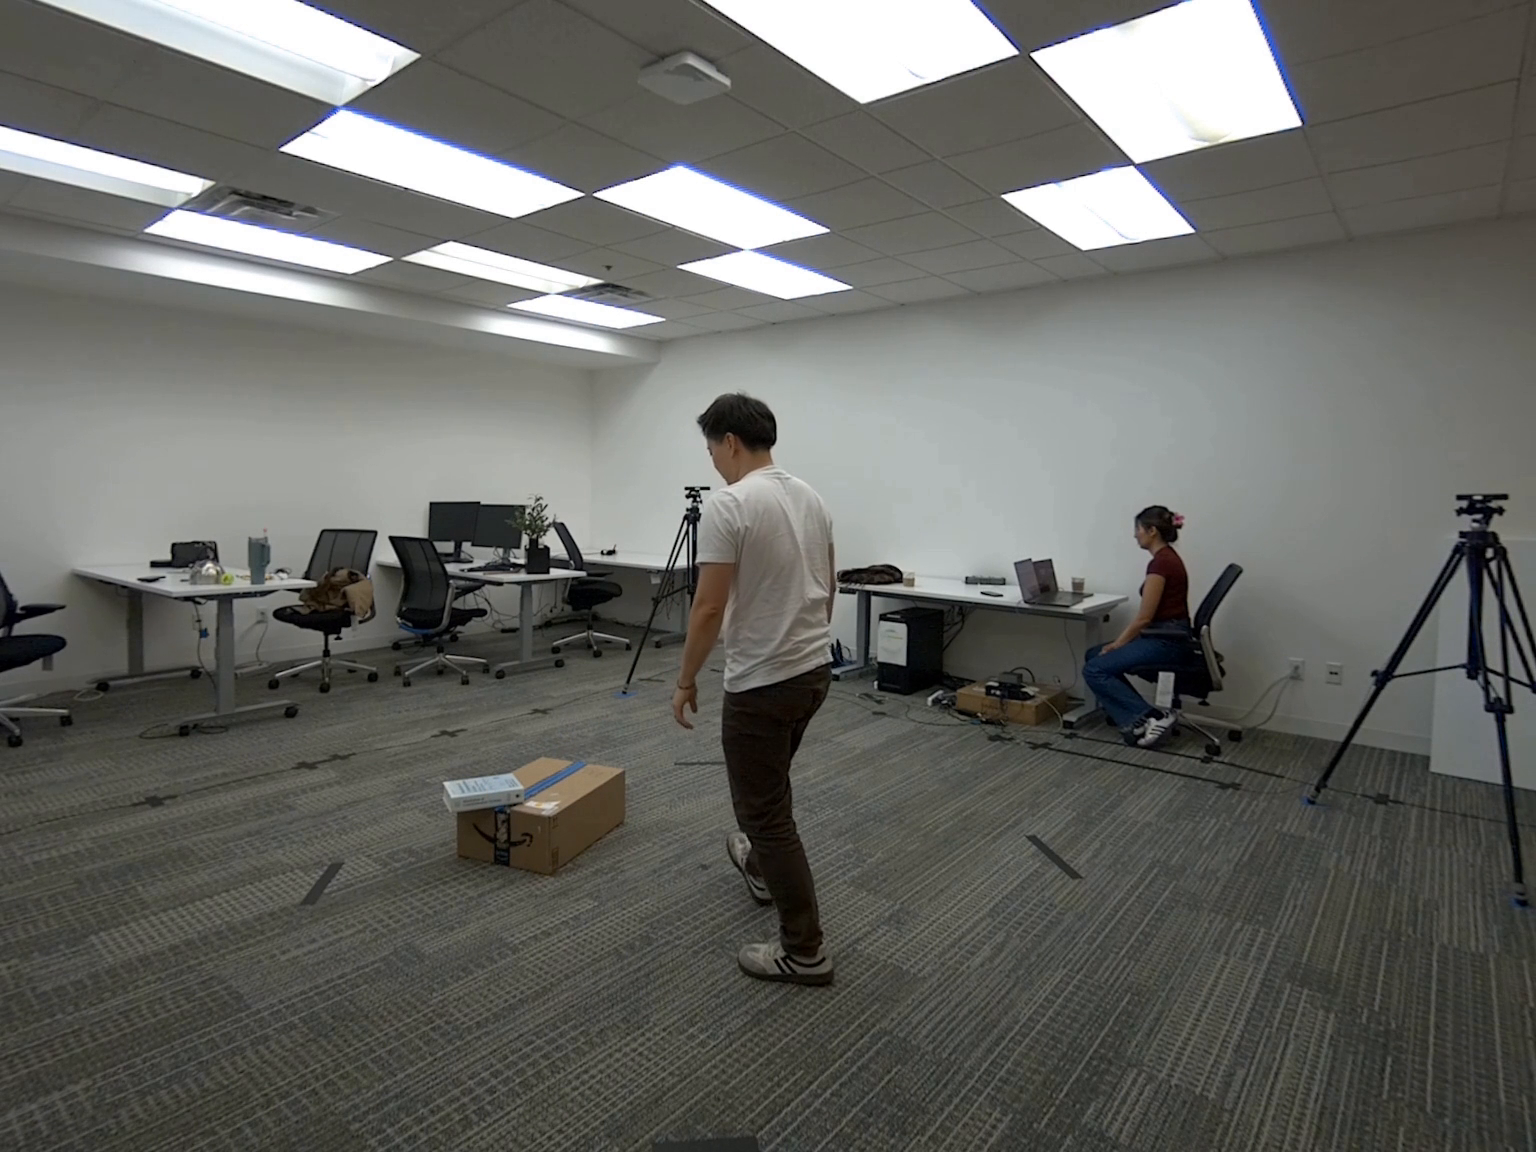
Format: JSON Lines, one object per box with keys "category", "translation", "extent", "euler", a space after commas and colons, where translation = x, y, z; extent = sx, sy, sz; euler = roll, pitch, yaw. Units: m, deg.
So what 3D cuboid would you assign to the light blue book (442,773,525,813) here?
{"category": "light blue book", "translation": [-1.071, 0.803, 3.162], "extent": [0.254, 0.059, 0.197], "euler": [-2, 4, -28]}
